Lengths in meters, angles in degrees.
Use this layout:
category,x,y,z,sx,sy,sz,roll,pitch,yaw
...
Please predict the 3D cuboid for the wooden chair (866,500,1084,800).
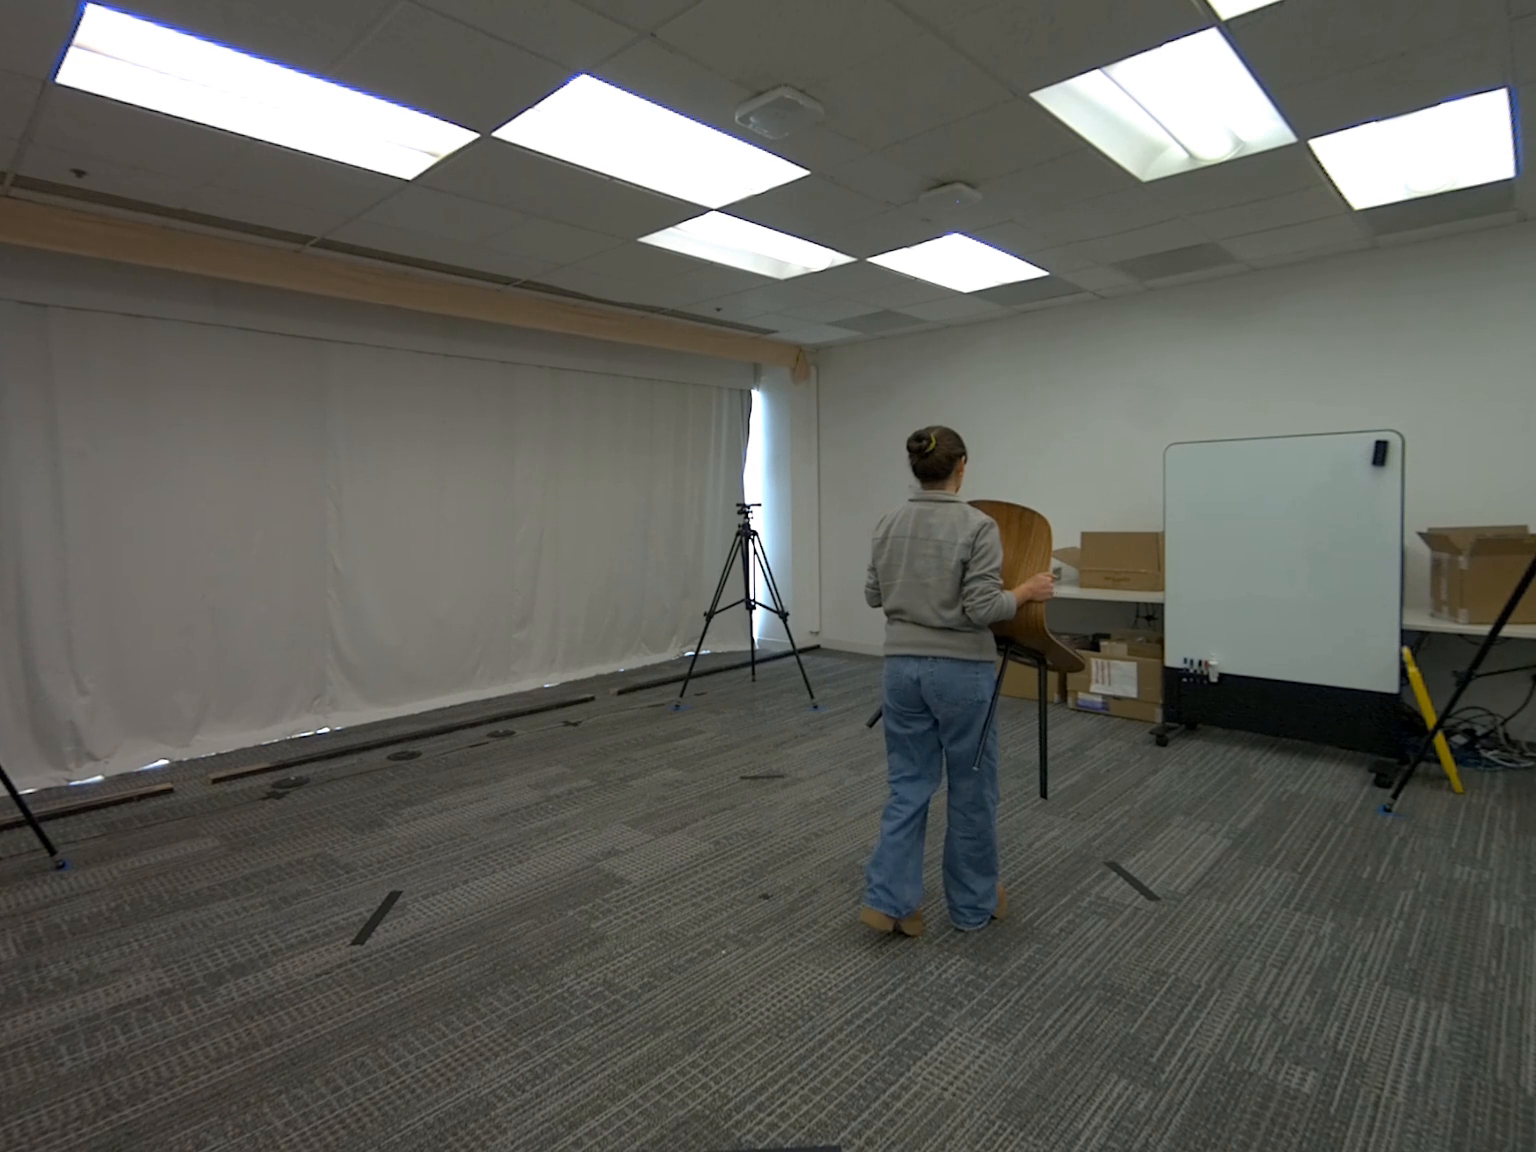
category,x,y,z,sx,sy,sz,roll,pitch,yaw
wooden chair,0.791,0.241,2.891,0.504,0.879,0.494,23,-9,-40
